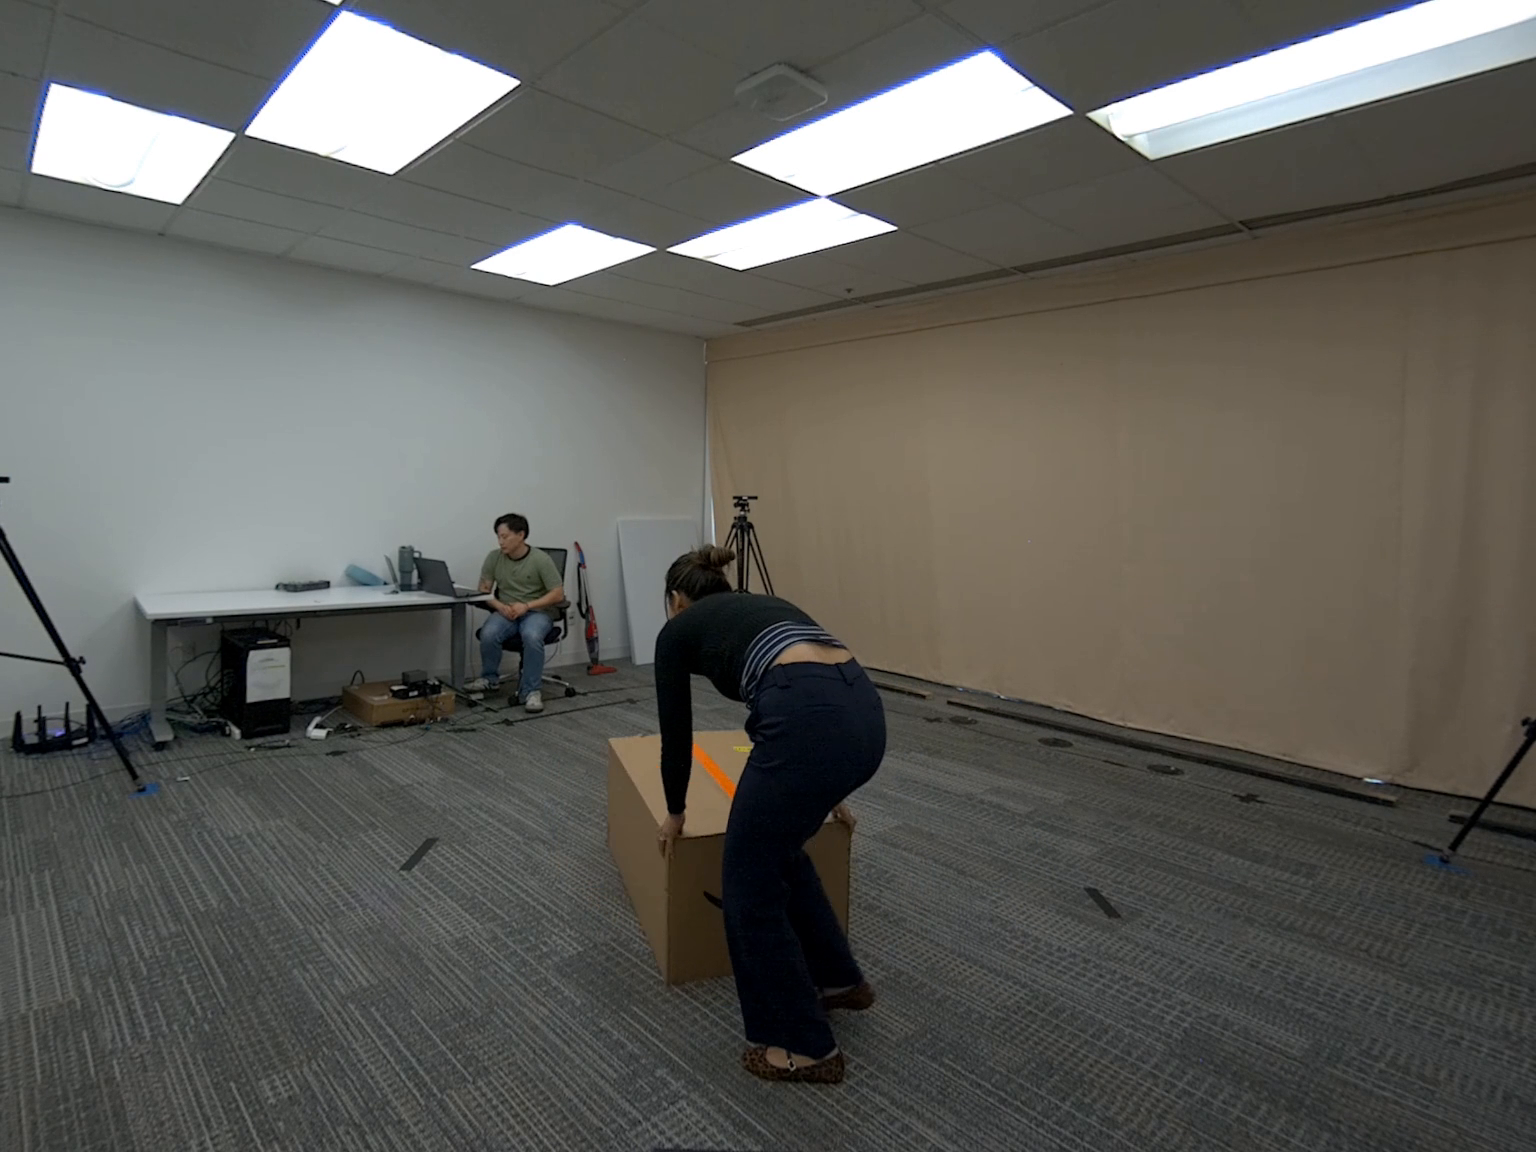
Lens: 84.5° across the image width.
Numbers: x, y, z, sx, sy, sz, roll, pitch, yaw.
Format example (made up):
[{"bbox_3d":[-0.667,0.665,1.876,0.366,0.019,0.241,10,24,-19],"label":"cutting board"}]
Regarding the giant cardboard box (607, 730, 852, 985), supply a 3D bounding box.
[{"bbox_3d":[-0.201,0.900,2.952,0.569,0.425,1.044,1,5,-20],"label":"giant cardboard box"}]
